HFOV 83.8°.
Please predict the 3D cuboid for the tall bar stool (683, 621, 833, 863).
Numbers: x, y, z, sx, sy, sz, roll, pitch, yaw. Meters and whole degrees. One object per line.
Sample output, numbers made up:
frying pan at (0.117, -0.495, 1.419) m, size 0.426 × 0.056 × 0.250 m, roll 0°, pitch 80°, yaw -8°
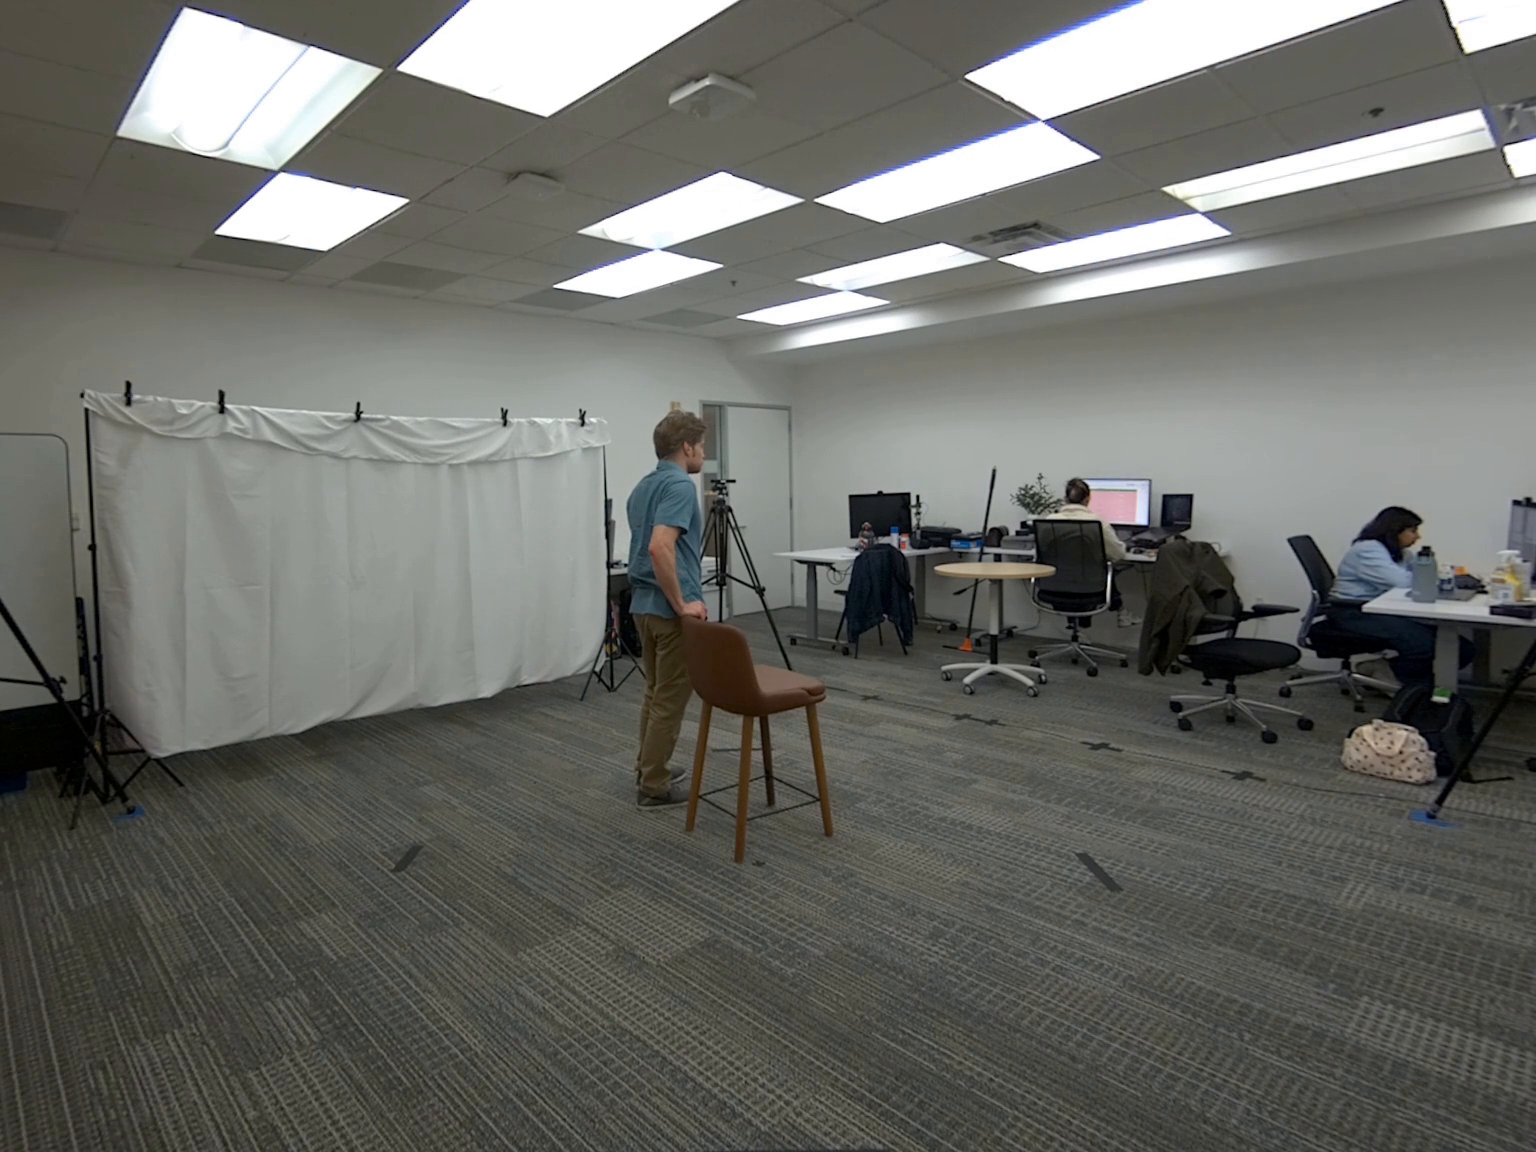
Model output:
tall bar stool at (-0.053, 0.584, 3.357) m, size 0.456 × 0.885 × 0.470 m, roll -6°, pitch 6°, yaw -35°
